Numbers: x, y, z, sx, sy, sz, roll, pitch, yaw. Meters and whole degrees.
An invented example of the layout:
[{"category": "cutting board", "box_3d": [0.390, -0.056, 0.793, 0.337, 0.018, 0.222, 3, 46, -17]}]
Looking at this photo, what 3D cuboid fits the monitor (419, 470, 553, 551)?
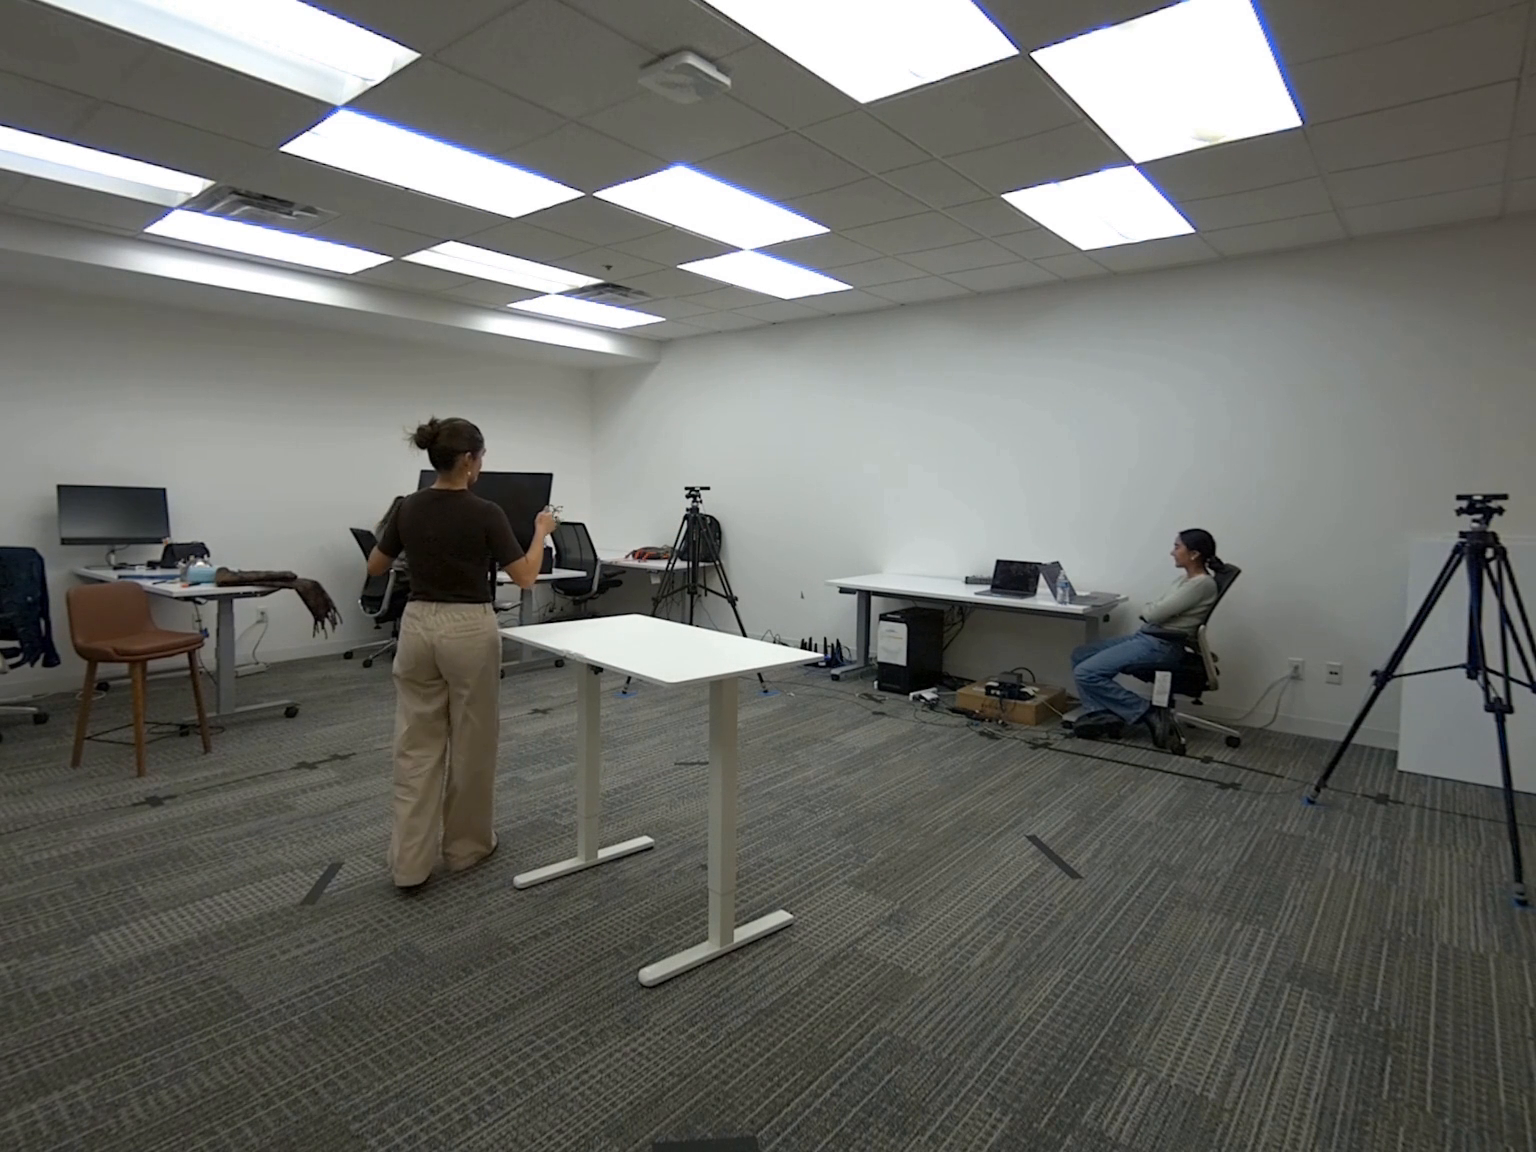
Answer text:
[{"category": "monitor", "box_3d": [-1.098, -0.142, 3.255, 0.542, 0.522, 0.186, 2, 1, 5]}]
